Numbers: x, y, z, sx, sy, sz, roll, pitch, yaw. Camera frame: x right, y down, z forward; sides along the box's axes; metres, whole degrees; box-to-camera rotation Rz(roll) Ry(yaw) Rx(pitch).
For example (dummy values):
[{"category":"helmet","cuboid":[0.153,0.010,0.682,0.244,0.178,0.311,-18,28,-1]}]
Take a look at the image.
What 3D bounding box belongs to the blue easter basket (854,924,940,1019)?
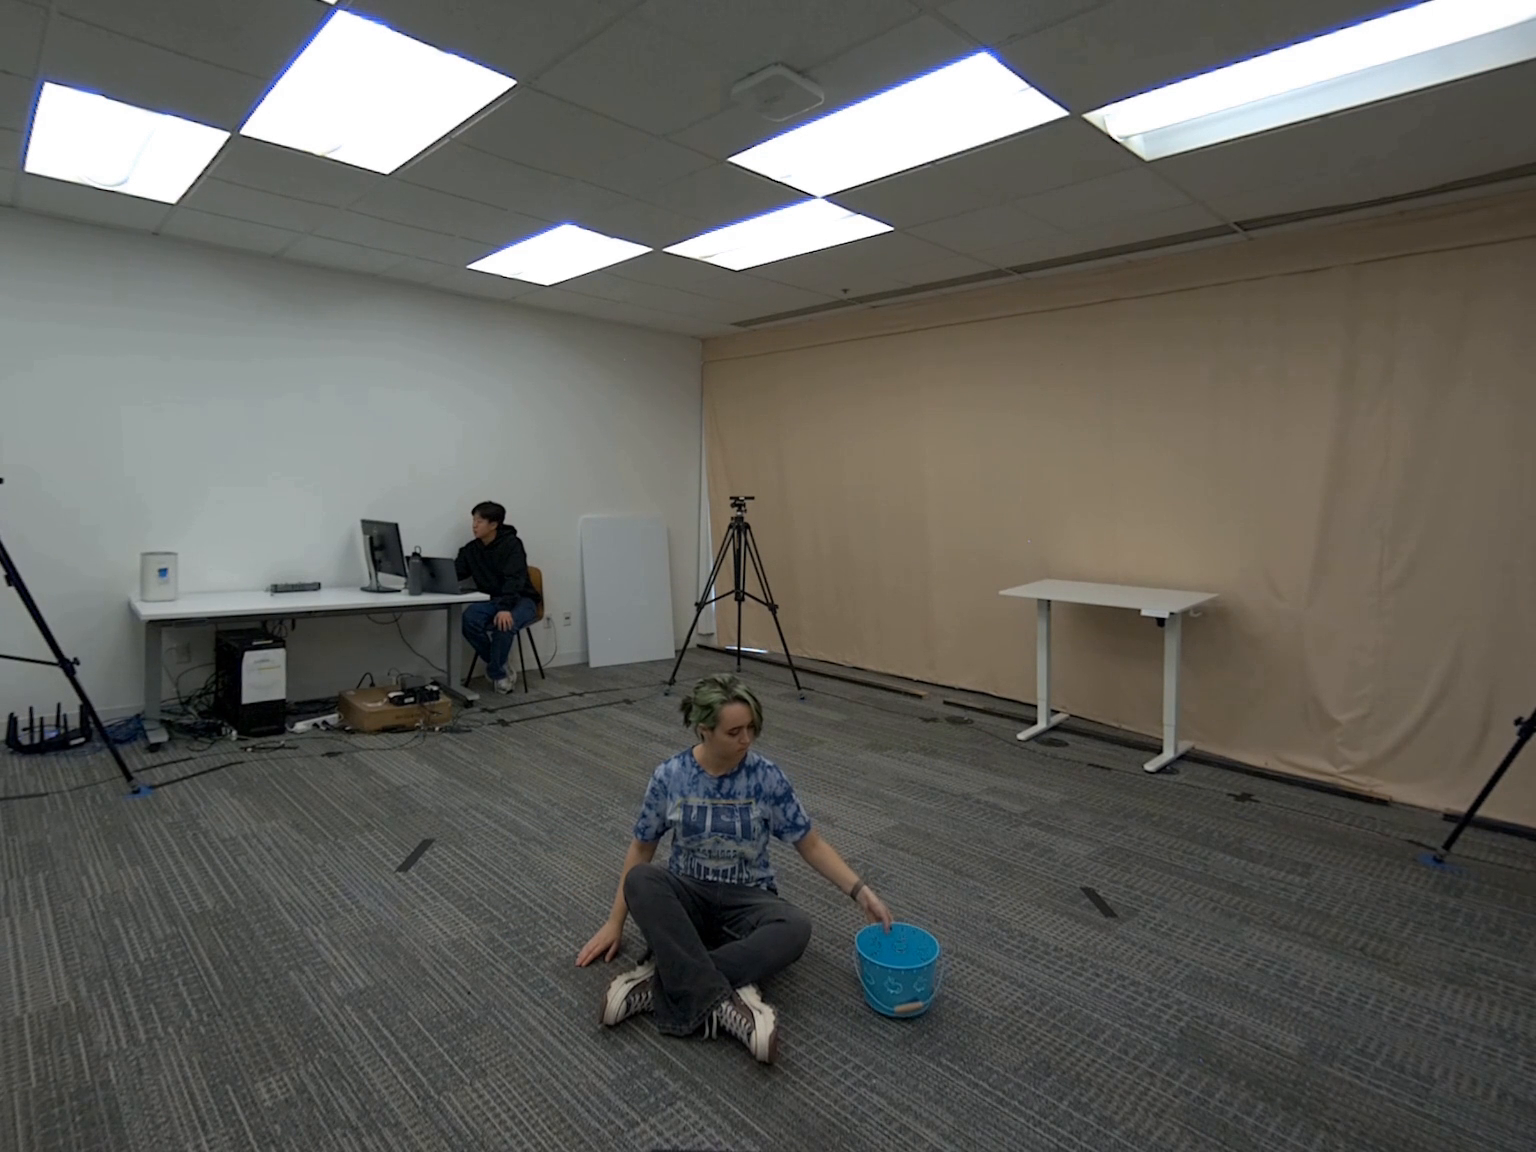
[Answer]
[{"category":"blue easter basket","cuboid":[0.349,1.094,2.312,0.243,0.155,0.244,-1,5,-1]}]
